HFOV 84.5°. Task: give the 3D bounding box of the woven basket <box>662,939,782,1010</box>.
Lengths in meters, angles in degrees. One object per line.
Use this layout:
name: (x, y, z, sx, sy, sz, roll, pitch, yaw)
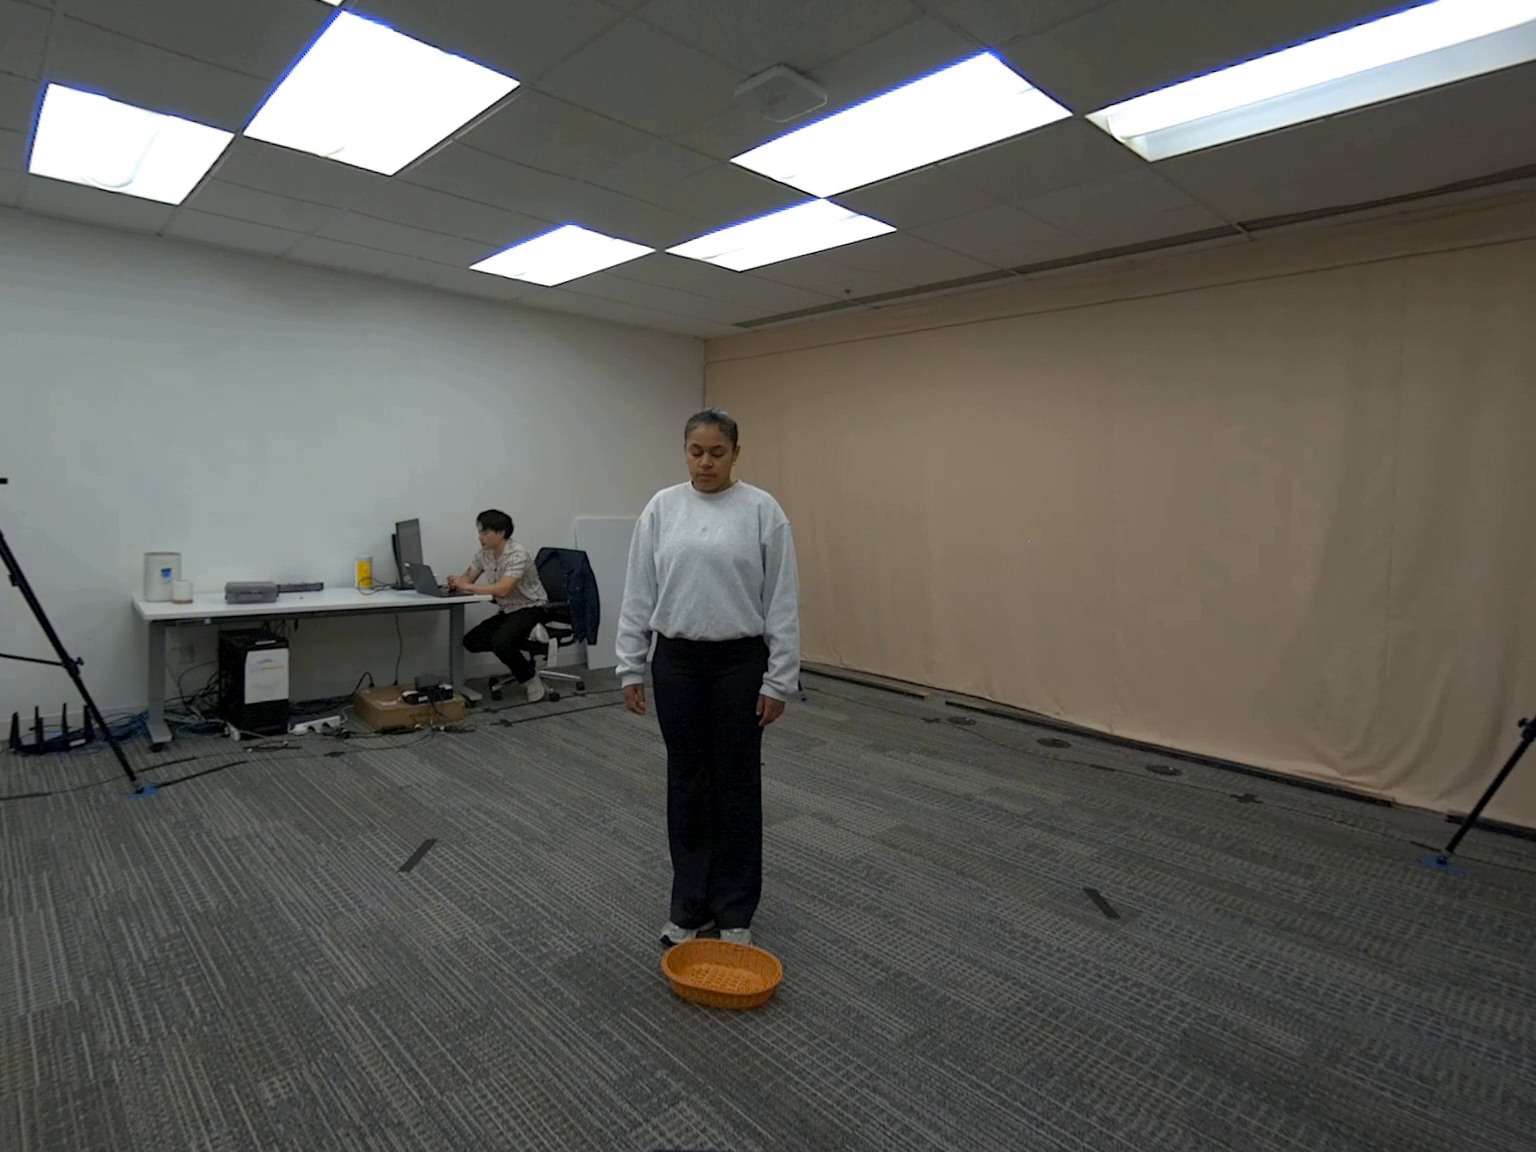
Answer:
woven basket: (-0.145, 1.136, 2.391, 0.355, 0.073, 0.250, 3, 6, 17)
